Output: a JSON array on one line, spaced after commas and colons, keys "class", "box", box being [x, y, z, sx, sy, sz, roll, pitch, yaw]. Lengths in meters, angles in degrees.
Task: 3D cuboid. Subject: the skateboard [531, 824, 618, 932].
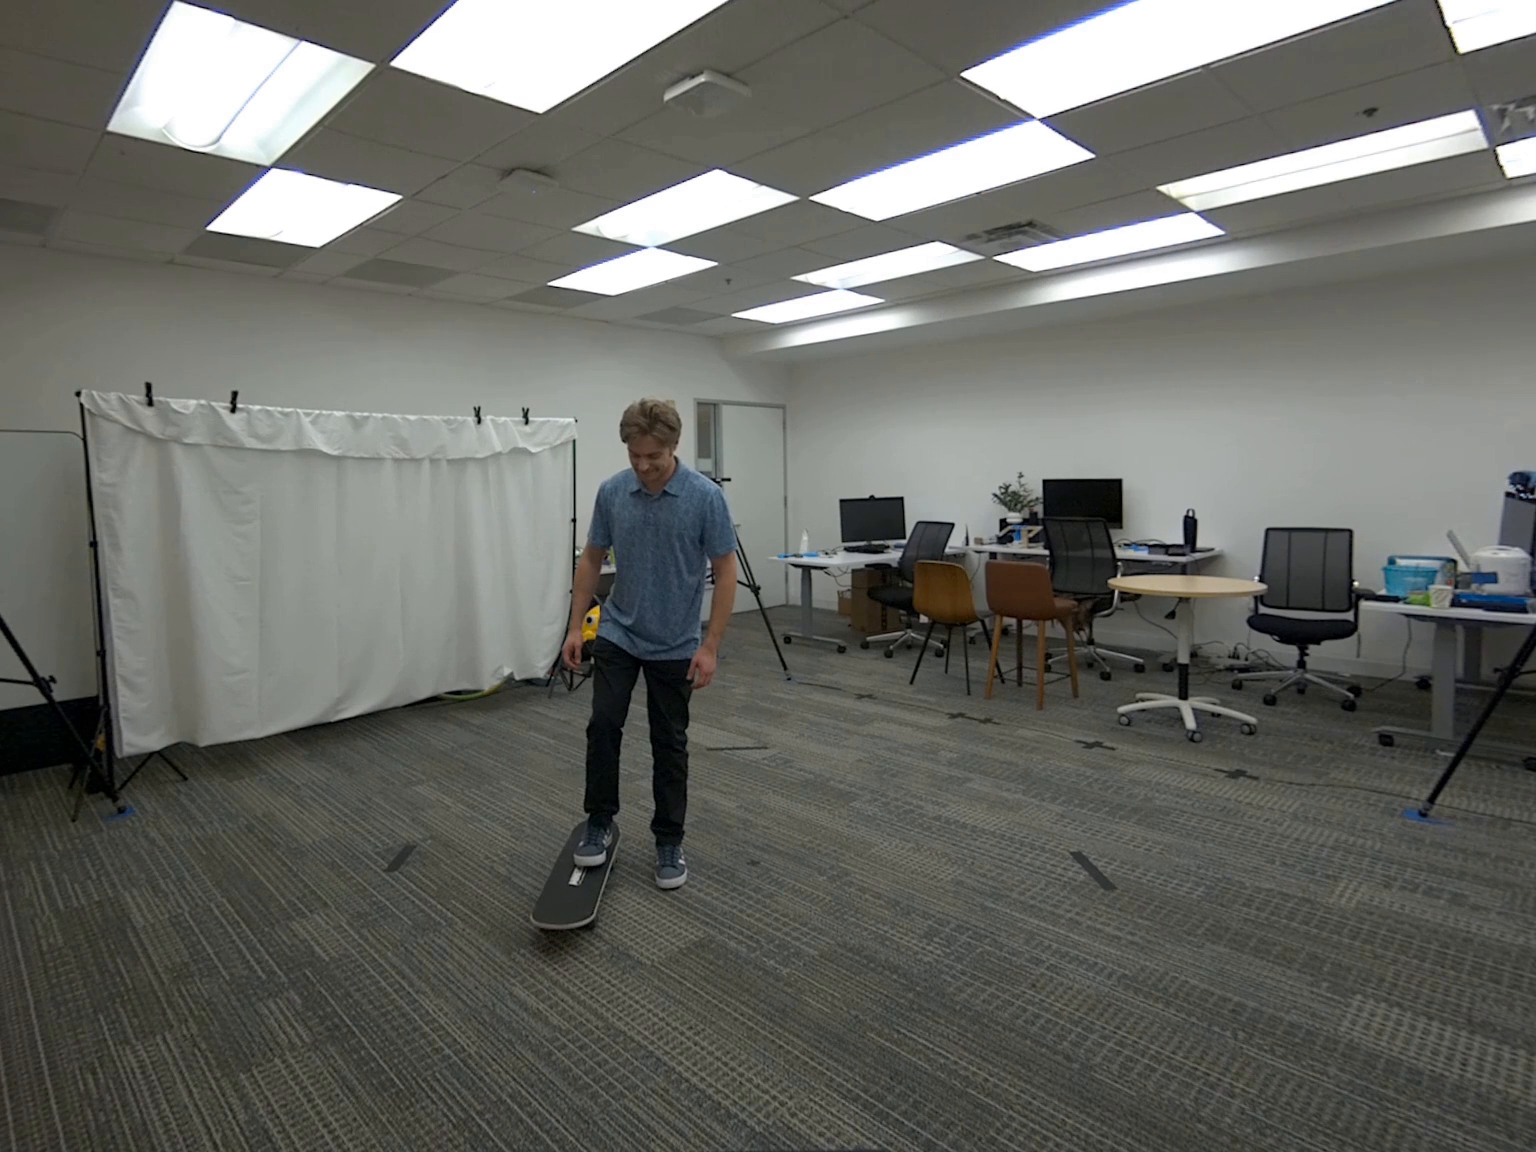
[{"class": "skateboard", "box": [-0.627, 1.018, 2.879, 0.193, 0.110, 0.789, 0, 6, -1]}]
